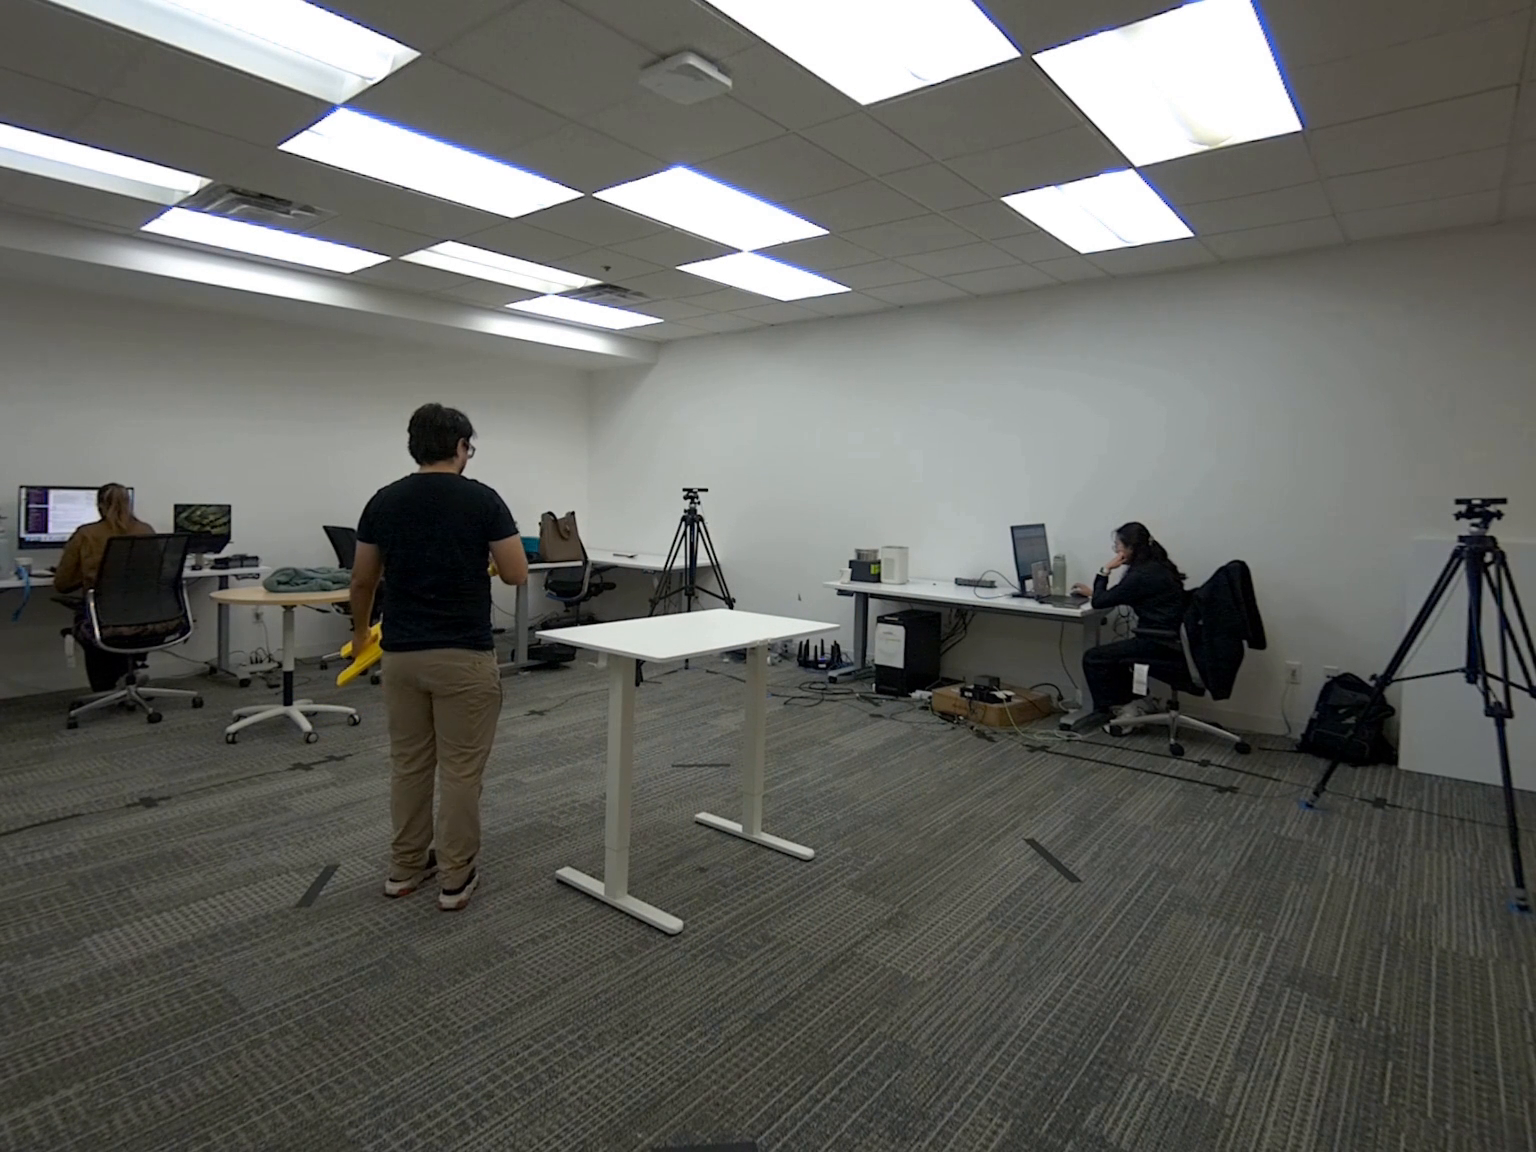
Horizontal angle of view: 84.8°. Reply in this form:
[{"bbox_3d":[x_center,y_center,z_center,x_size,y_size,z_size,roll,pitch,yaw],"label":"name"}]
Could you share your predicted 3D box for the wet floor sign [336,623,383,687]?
[{"bbox_3d":[-1.241,0.181,3.129,0.279,0.646,0.293,39,5,-30],"label":"wet floor sign"}]
